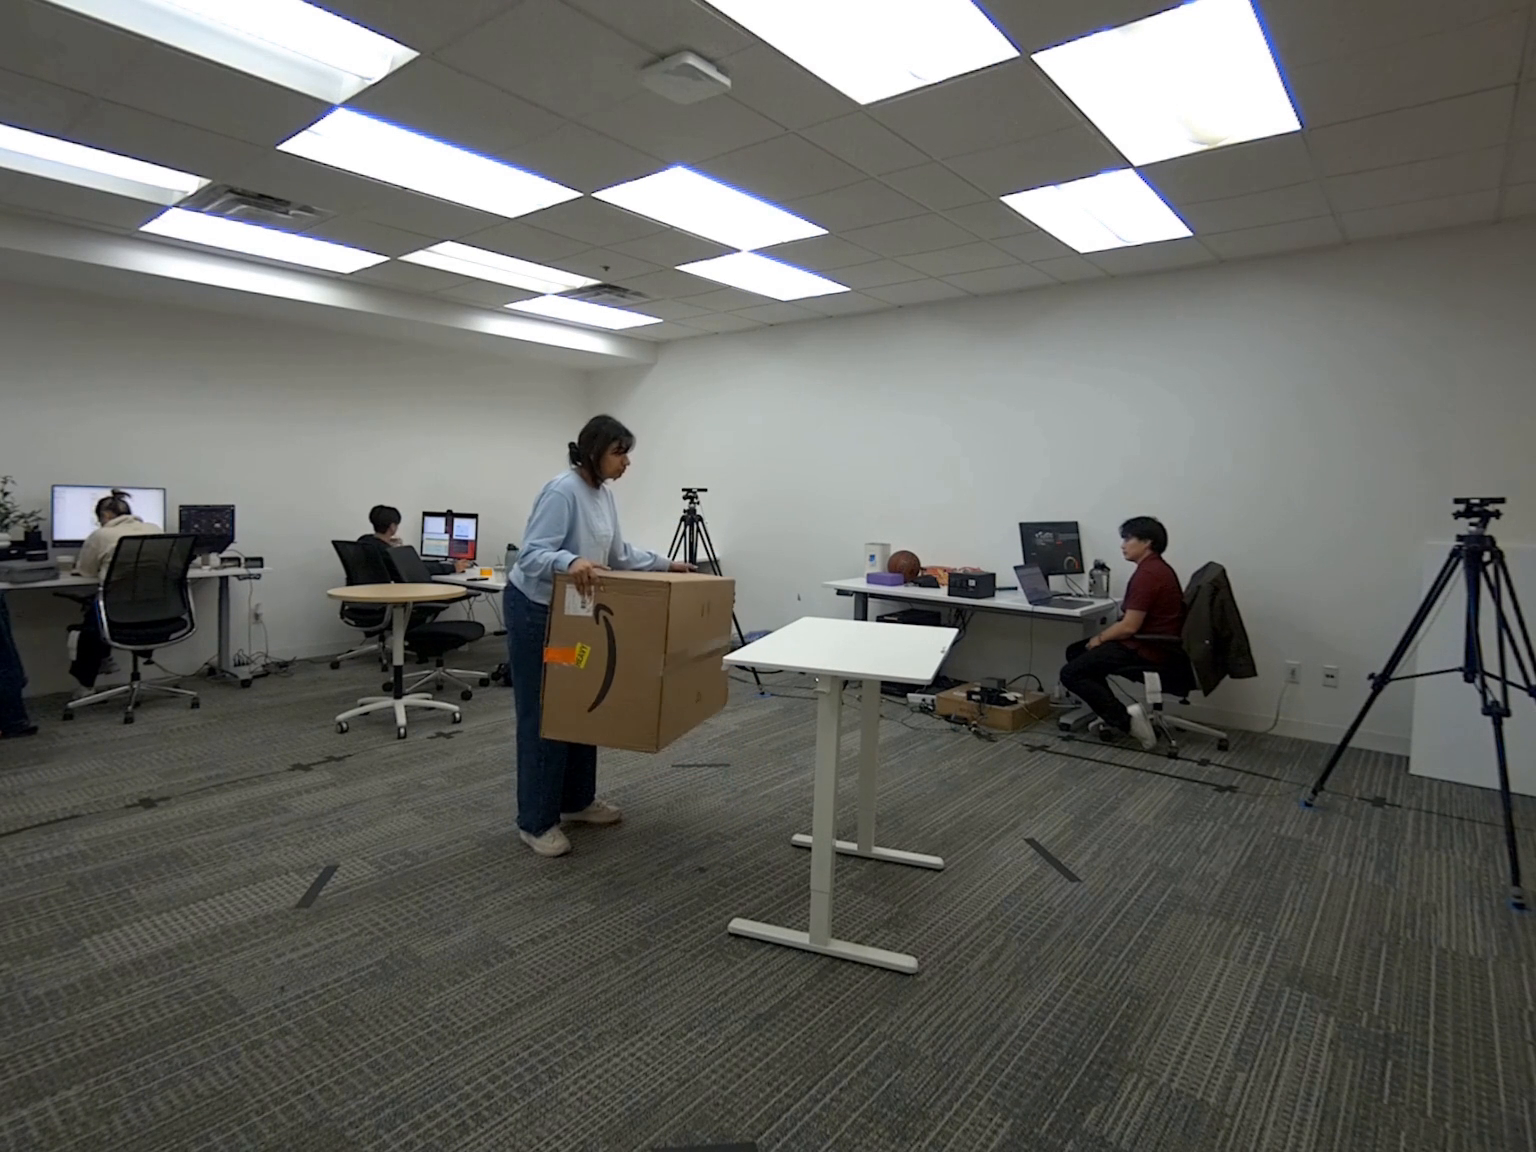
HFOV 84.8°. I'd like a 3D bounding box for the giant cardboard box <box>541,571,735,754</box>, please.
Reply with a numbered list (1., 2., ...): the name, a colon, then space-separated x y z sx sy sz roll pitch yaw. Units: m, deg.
1. giant cardboard box: -0.474 0.282 3.349 0.432 0.578 1.011 4 1 11
